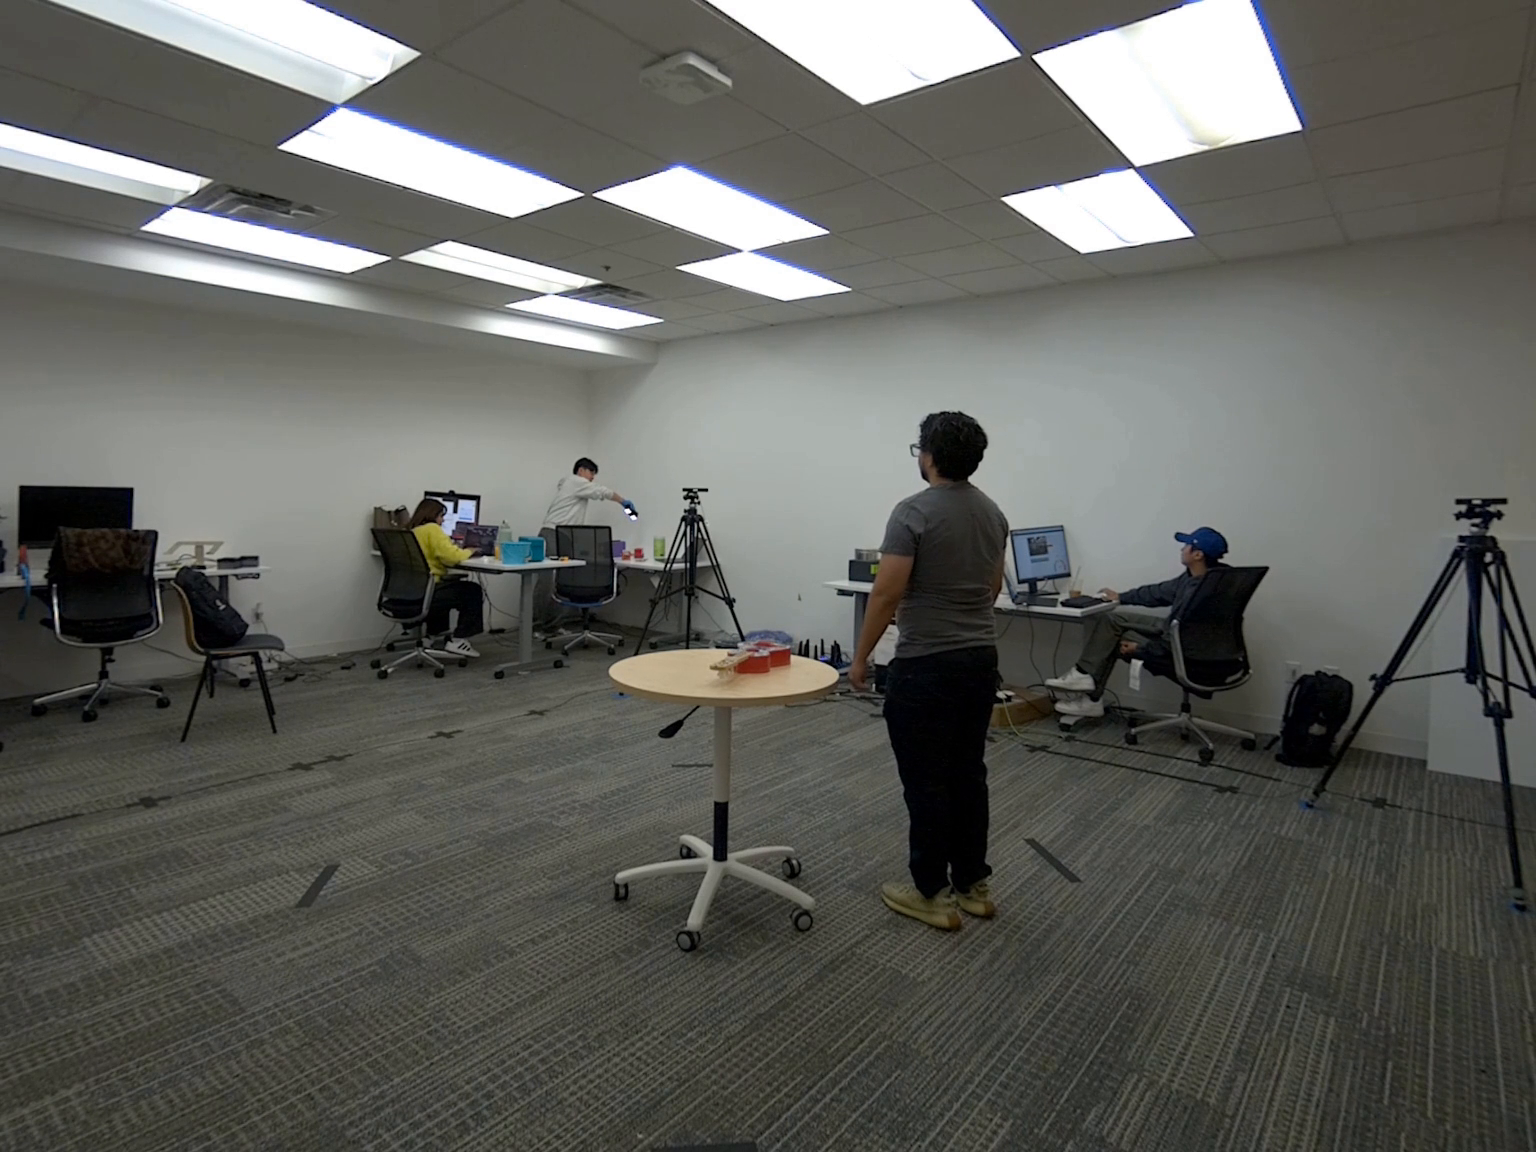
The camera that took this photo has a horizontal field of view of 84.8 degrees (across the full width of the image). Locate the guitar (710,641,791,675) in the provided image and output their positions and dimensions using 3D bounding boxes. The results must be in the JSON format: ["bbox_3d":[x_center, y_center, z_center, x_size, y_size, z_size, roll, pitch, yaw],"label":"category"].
[{"bbox_3d":[-0.103,0.277,2.853,0.199,0.070,0.486,7,8,28],"label":"guitar"}]
